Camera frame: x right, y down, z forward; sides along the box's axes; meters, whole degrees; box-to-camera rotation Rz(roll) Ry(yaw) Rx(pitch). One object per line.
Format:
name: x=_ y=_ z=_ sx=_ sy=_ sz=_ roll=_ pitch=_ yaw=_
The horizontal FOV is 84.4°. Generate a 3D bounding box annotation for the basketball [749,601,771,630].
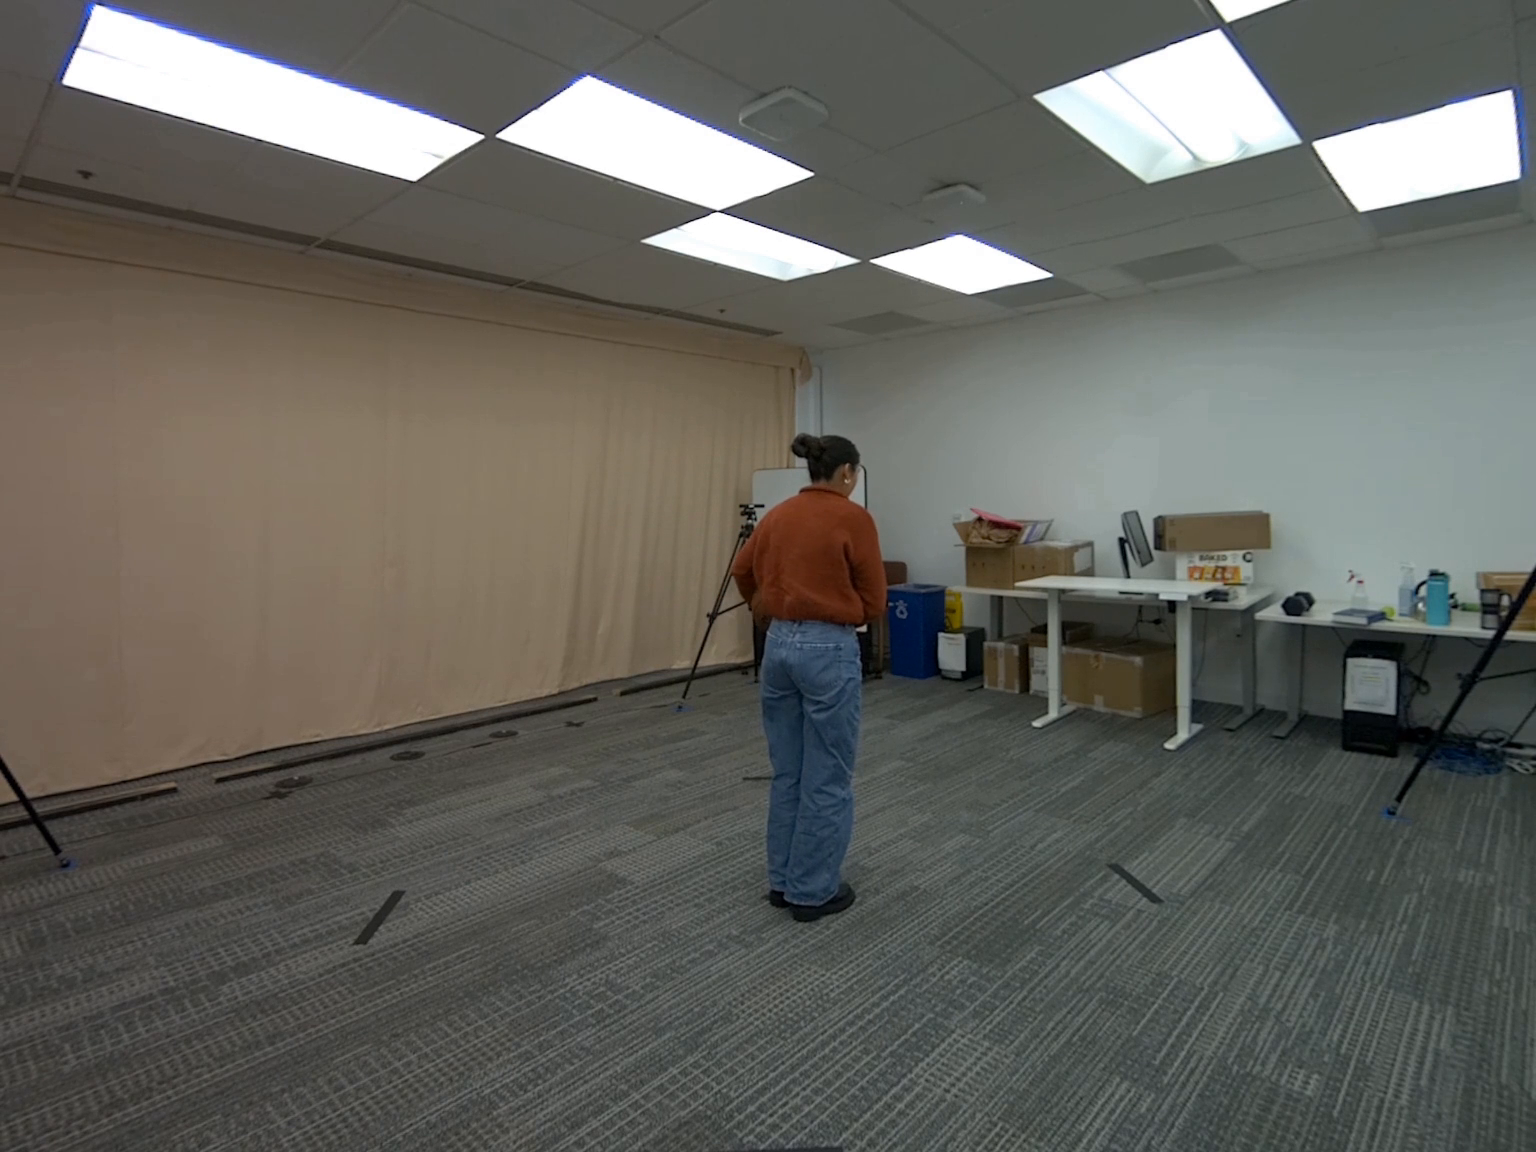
basketball: x=0.064 y=0.113 z=3.122 sx=0.236 sy=0.235 sz=0.237 roll=-1 pitch=4 yaw=-2
